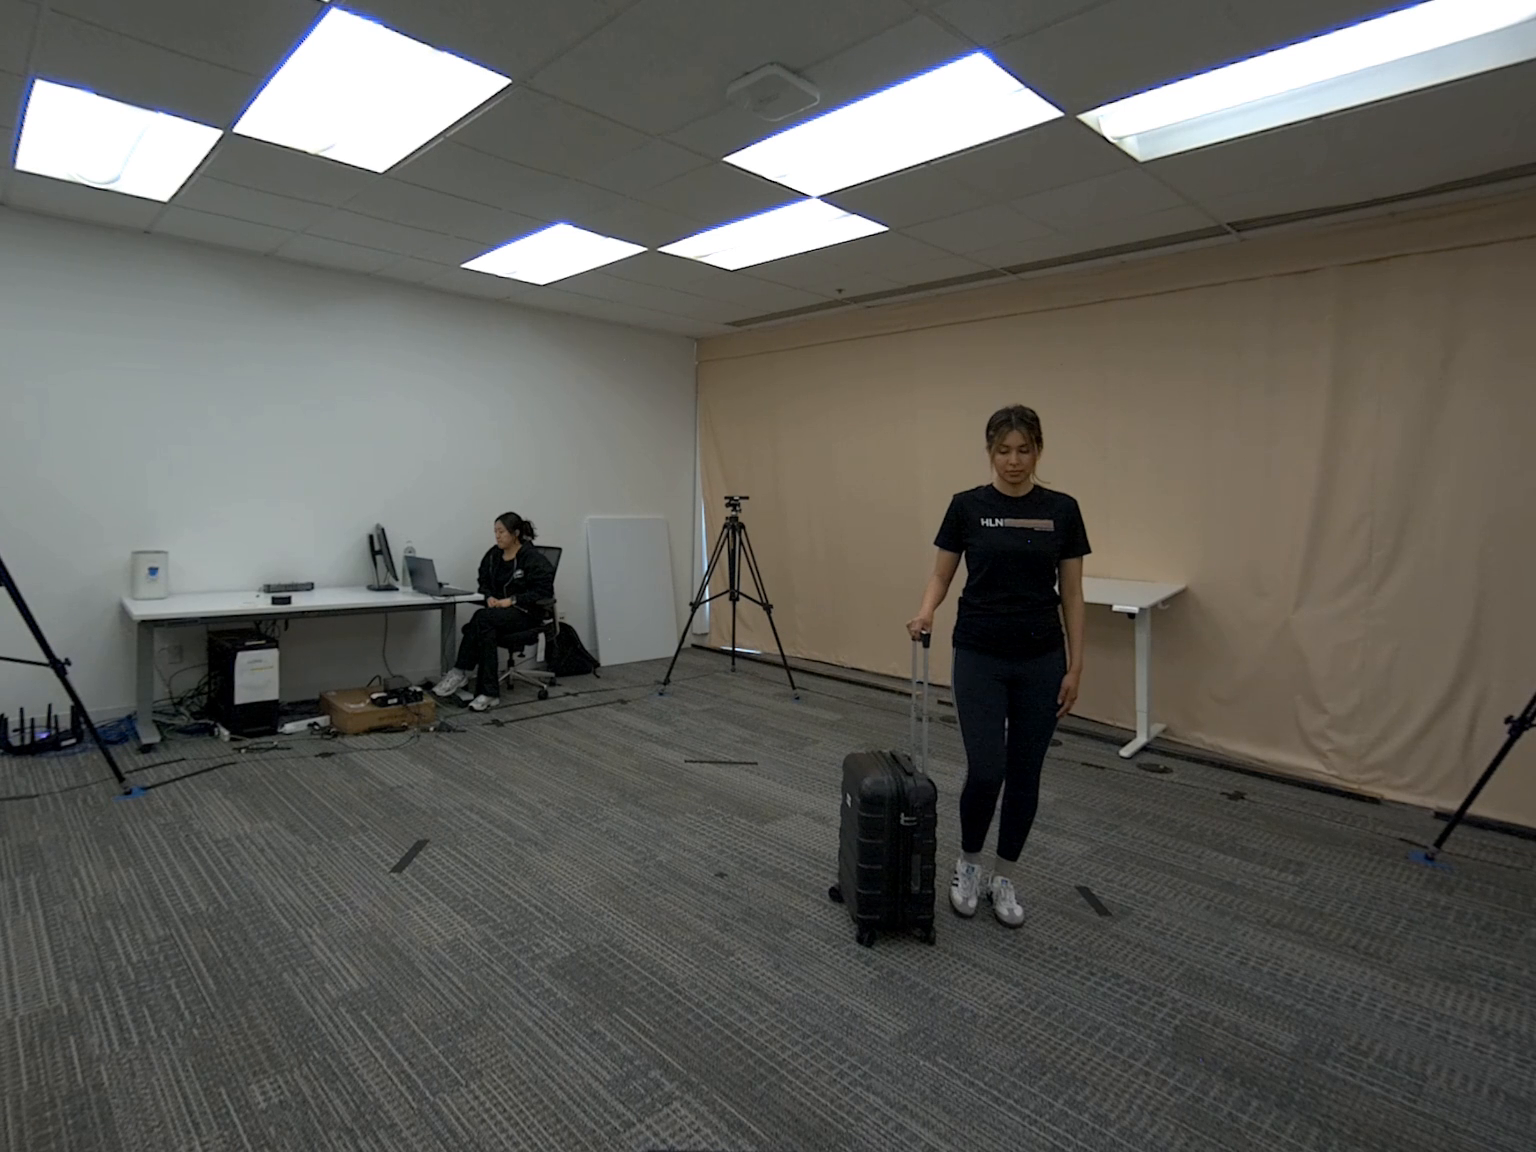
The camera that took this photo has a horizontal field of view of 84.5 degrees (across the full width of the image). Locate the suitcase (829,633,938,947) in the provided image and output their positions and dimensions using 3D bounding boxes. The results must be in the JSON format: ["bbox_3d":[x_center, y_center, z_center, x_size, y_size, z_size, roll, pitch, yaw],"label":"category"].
[{"bbox_3d":[0.380,0.673,2.744,0.256,0.976,0.387,0,4,-8],"label":"suitcase"}]
